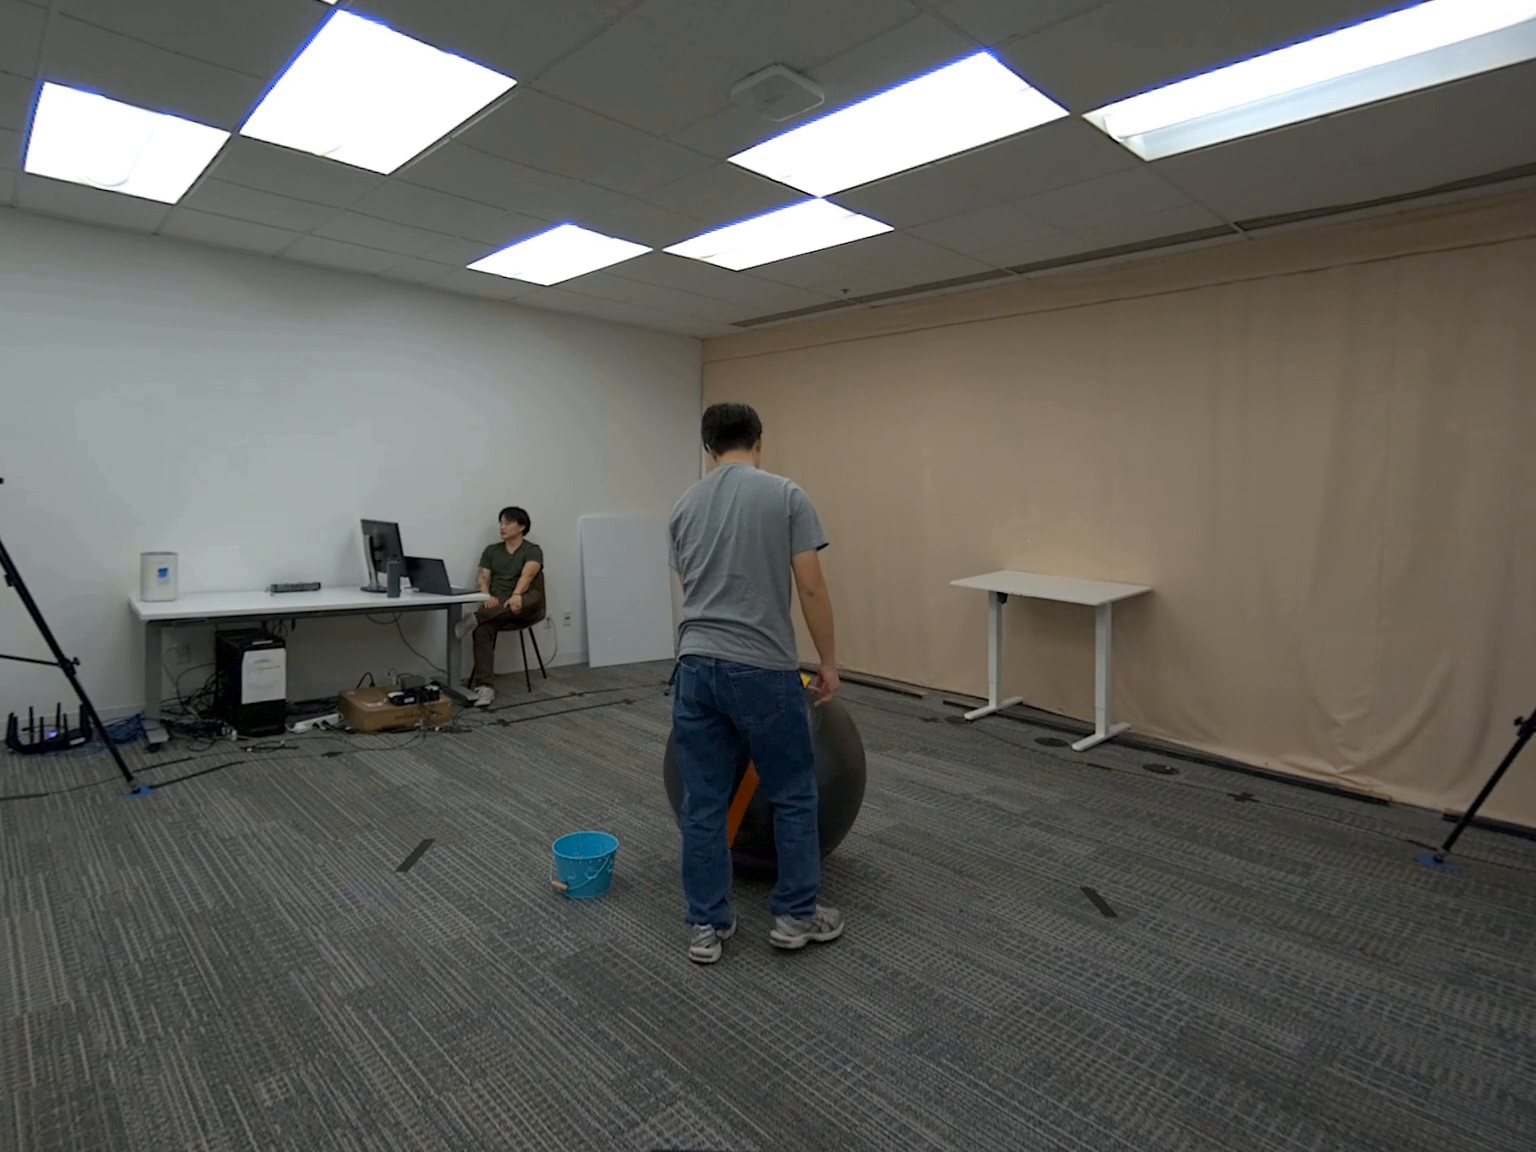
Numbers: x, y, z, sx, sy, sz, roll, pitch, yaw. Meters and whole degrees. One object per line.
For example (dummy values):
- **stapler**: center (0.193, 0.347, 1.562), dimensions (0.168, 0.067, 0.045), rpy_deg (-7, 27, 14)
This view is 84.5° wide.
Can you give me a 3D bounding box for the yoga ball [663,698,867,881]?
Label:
- **yoga ball**: center (-0.012, 0.731, 3.162), dimensions (0.757, 0.756, 0.761), rpy_deg (1, 4, -1)
